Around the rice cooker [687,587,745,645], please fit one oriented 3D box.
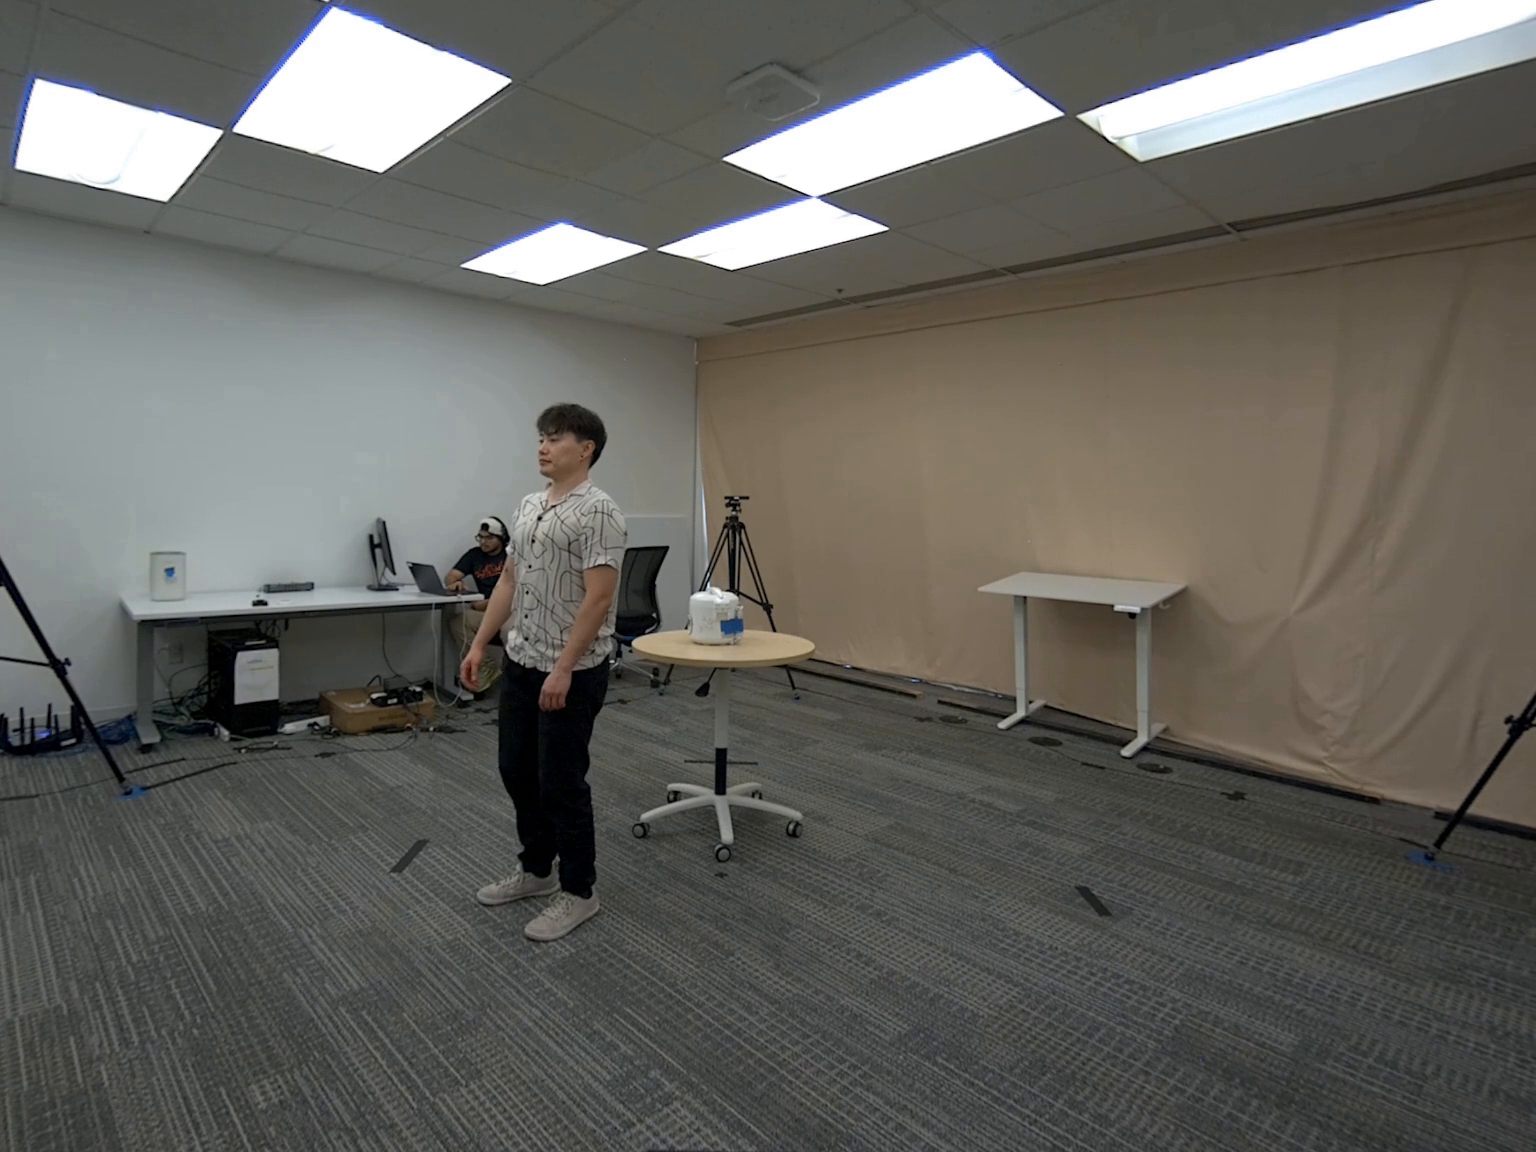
[{"bbox_3d":[-0.231,0.164,3.541,0.214,0.232,0.224,1,3,-19],"label":"rice cooker"}]
